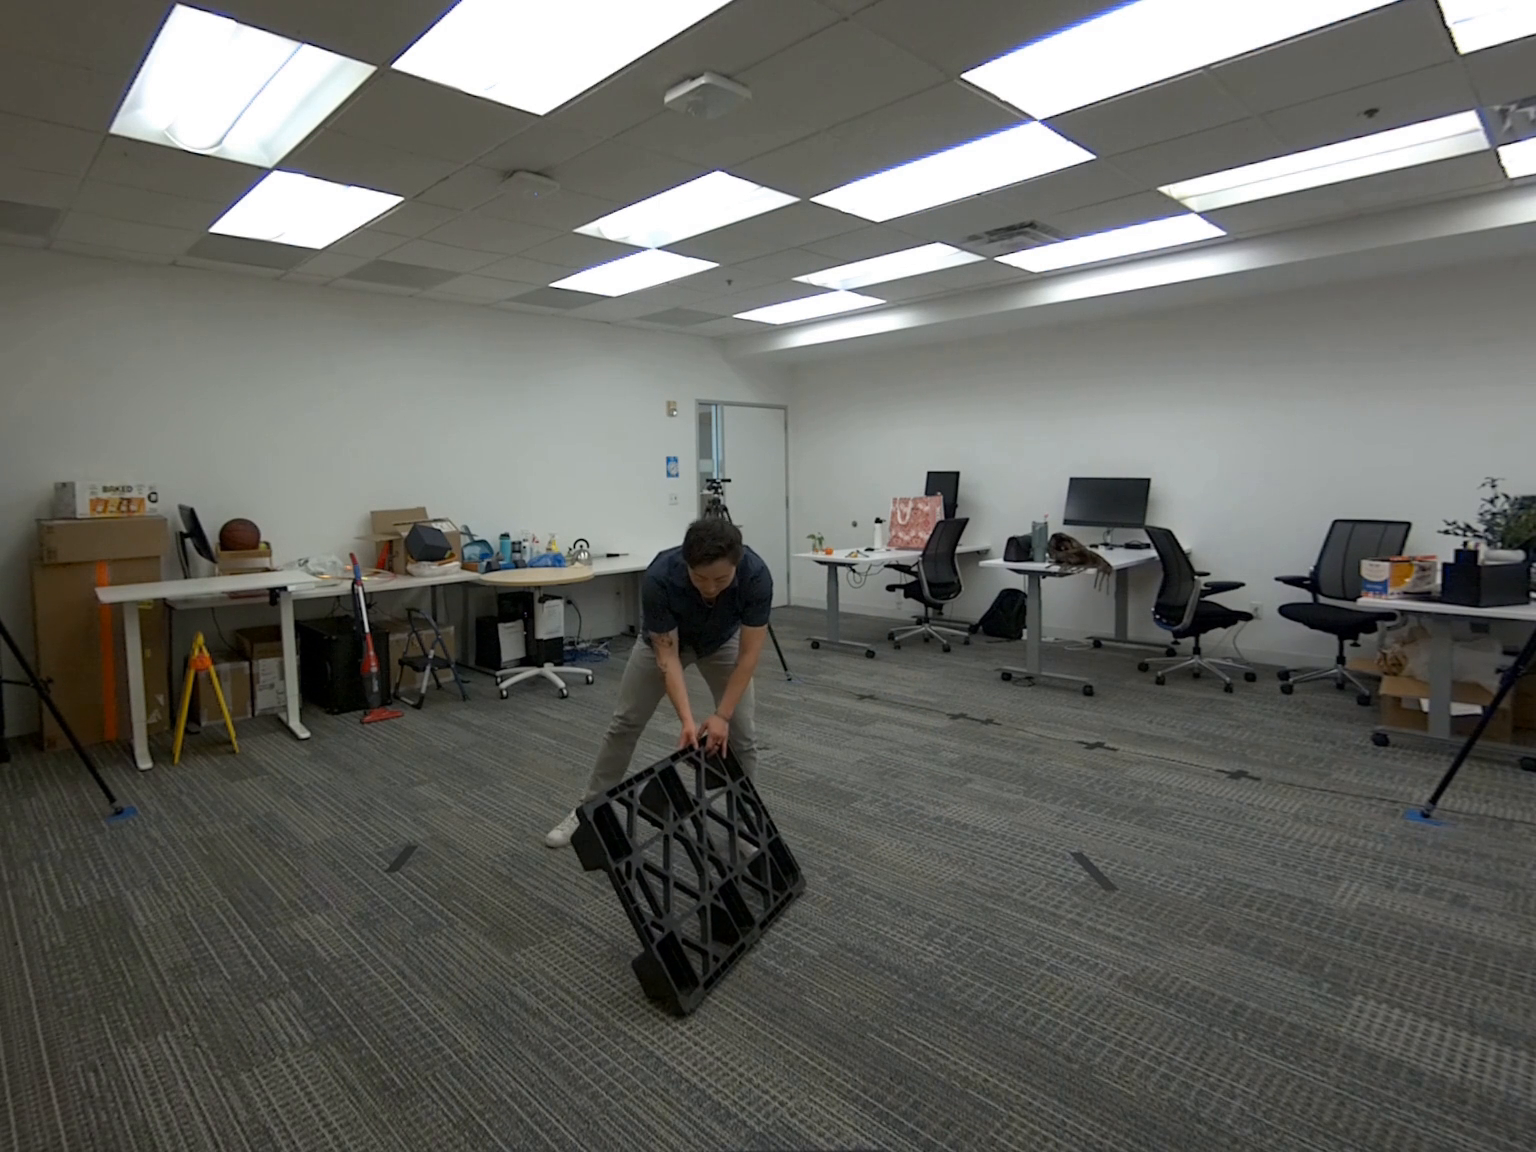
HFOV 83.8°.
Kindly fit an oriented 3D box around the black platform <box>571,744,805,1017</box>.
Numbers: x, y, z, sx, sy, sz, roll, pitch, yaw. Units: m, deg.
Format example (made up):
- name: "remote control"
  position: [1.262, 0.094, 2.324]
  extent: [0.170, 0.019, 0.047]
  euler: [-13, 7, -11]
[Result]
- name: "black platform"
  position: [-0.230, 0.862, 2.640]
  extent: [0.144, 0.614, 0.790]
  euler: [-36, -11, 25]
